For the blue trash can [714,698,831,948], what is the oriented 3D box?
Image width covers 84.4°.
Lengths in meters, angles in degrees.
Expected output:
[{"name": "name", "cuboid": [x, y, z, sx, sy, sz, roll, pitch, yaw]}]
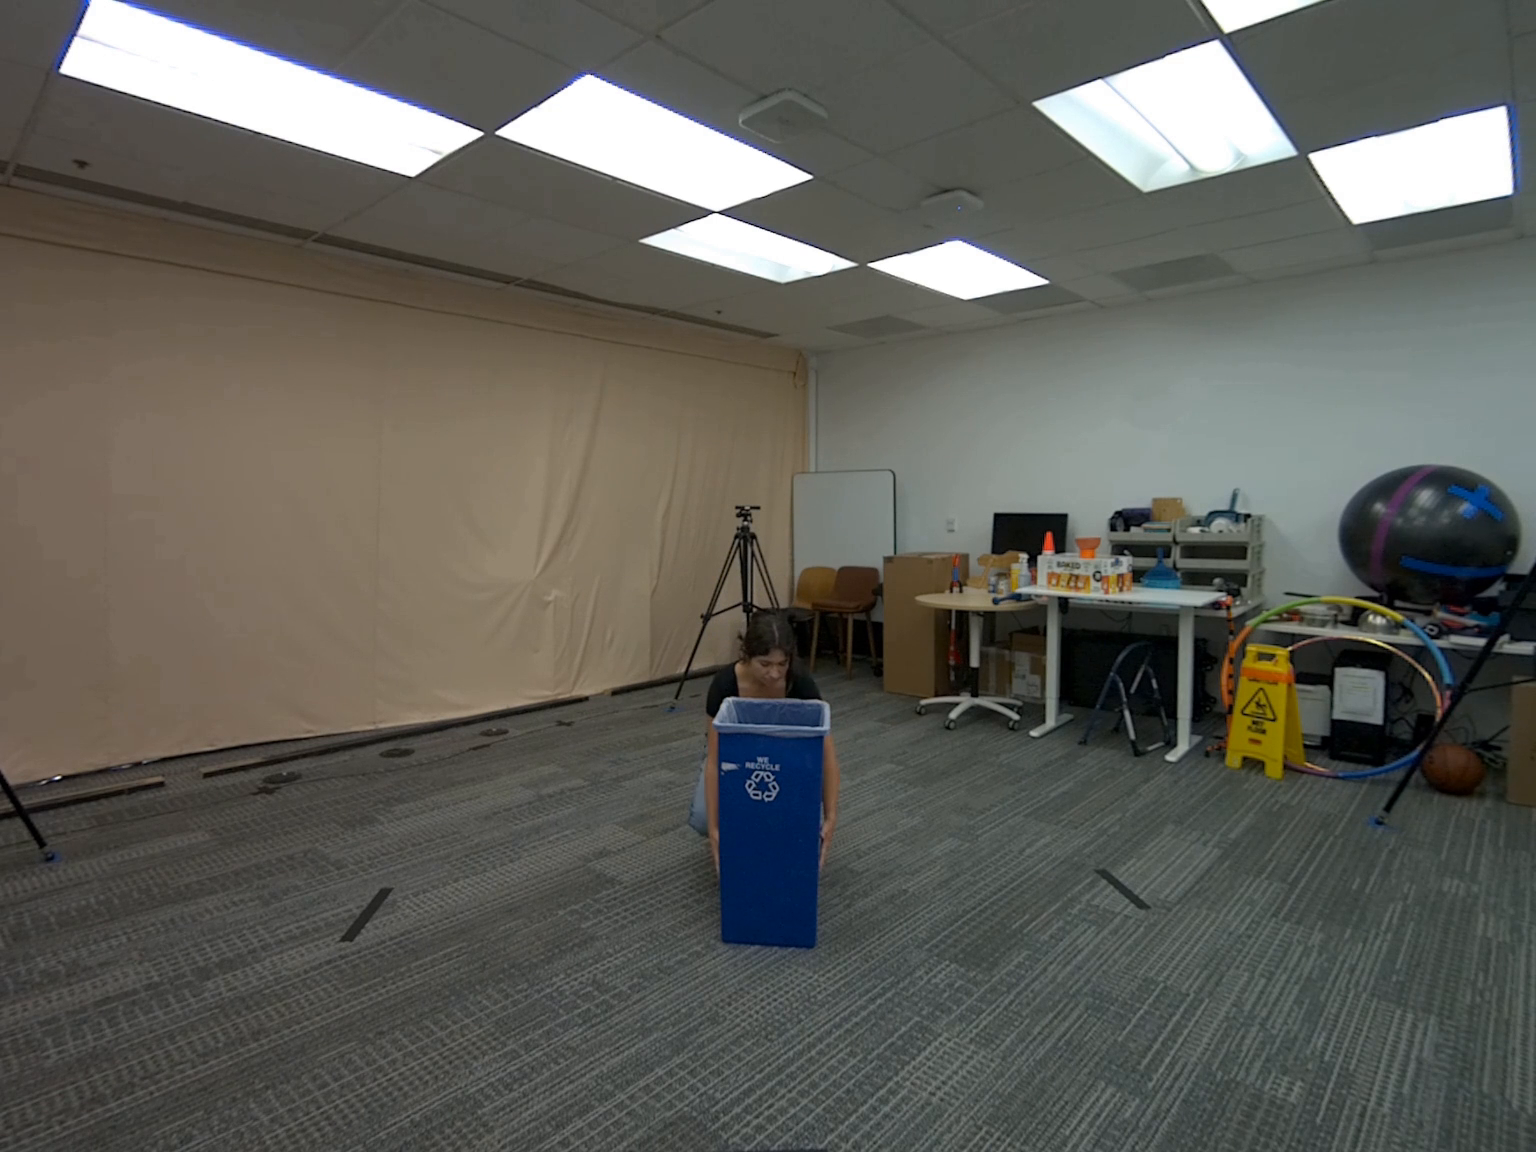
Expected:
[{"name": "blue trash can", "cuboid": [0.021, 0.798, 2.799, 0.377, 0.712, 0.376, 1, 3, 6]}]
